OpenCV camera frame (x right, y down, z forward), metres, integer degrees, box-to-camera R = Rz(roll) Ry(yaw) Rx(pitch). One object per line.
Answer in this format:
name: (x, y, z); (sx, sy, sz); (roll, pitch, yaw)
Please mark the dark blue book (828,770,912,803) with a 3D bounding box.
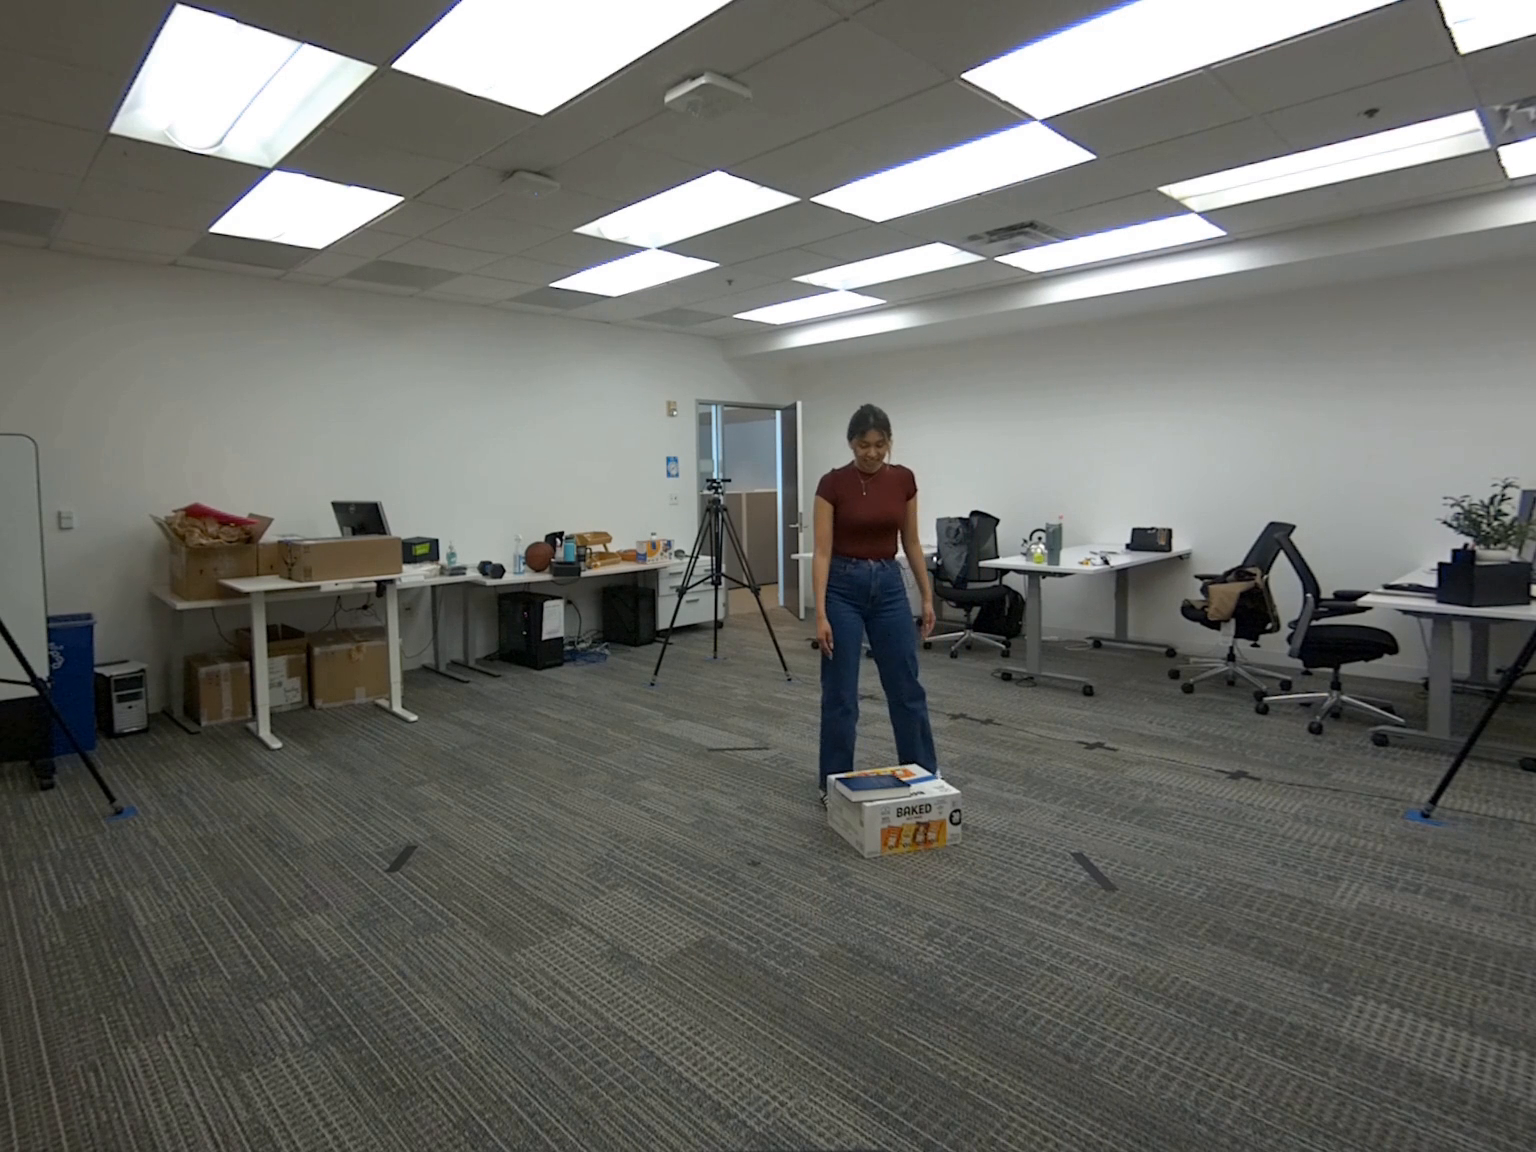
dark blue book: (0.401, 0.805, 3.243); (0.241, 0.045, 0.166); (0, 4, -17)
